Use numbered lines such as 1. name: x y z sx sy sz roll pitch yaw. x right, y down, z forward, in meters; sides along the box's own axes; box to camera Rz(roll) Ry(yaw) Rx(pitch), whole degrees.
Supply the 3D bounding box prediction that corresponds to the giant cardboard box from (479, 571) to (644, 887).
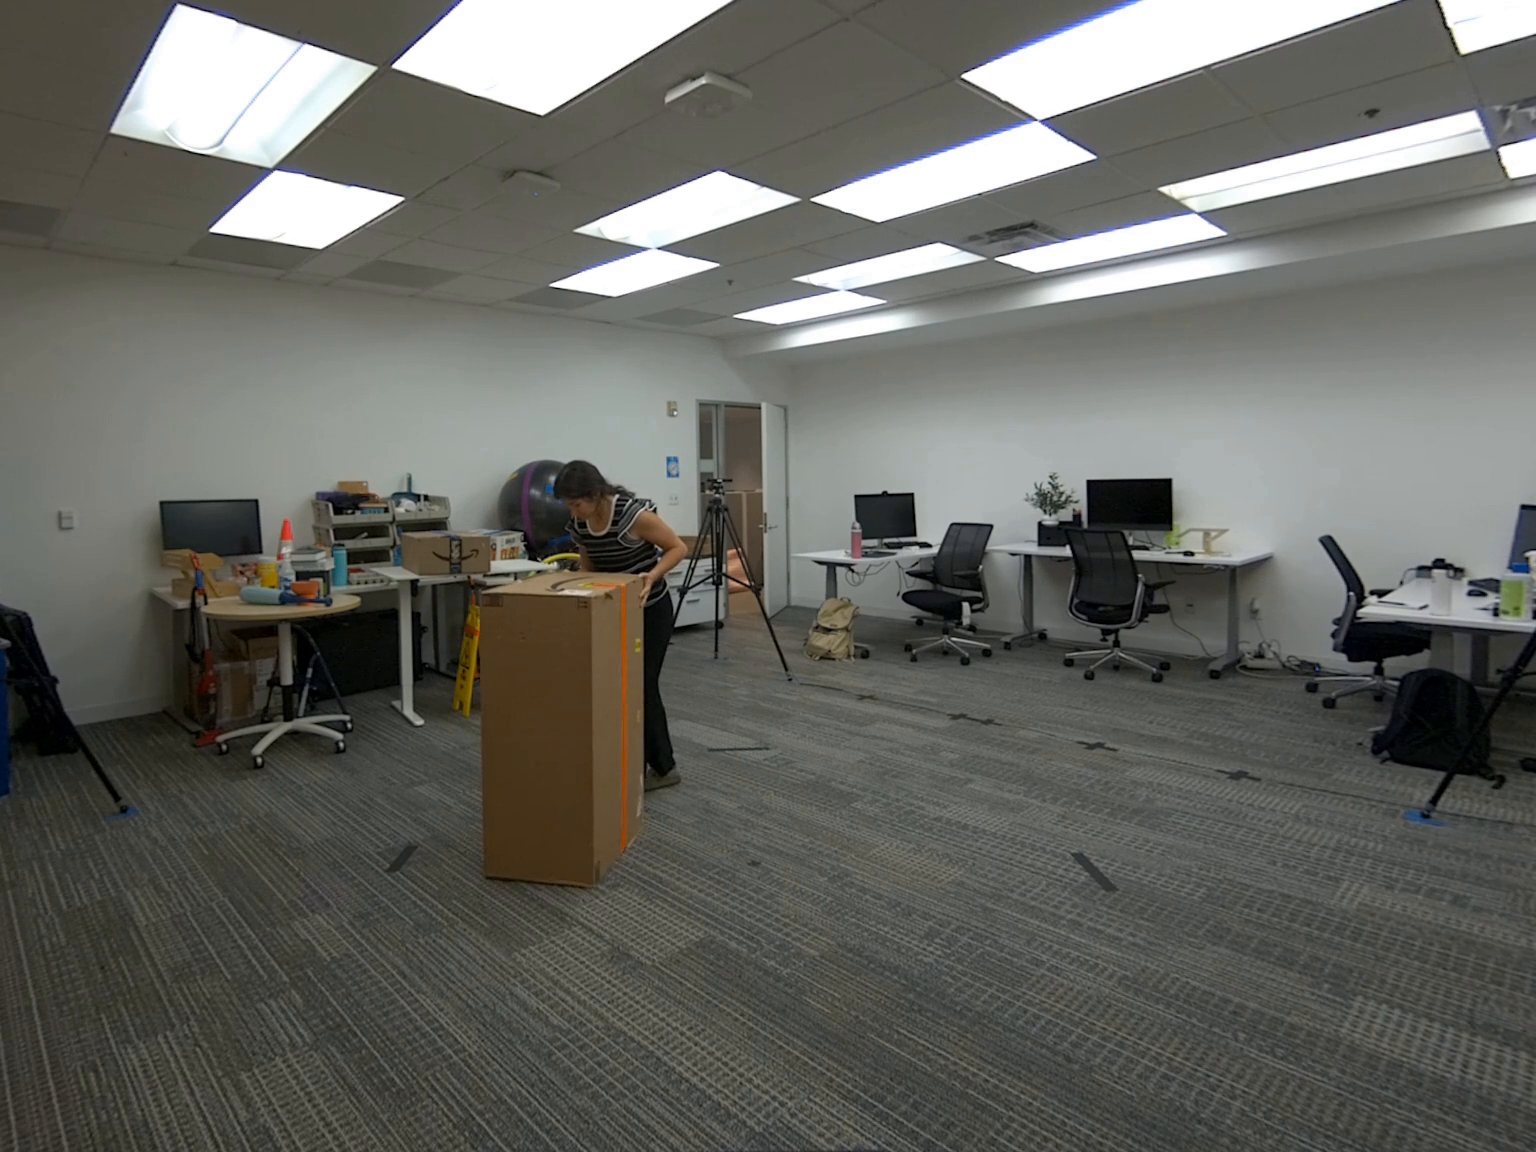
1. giant cardboard box: -0.756 0.536 3.225 0.431 1.021 0.573 1 5 11
